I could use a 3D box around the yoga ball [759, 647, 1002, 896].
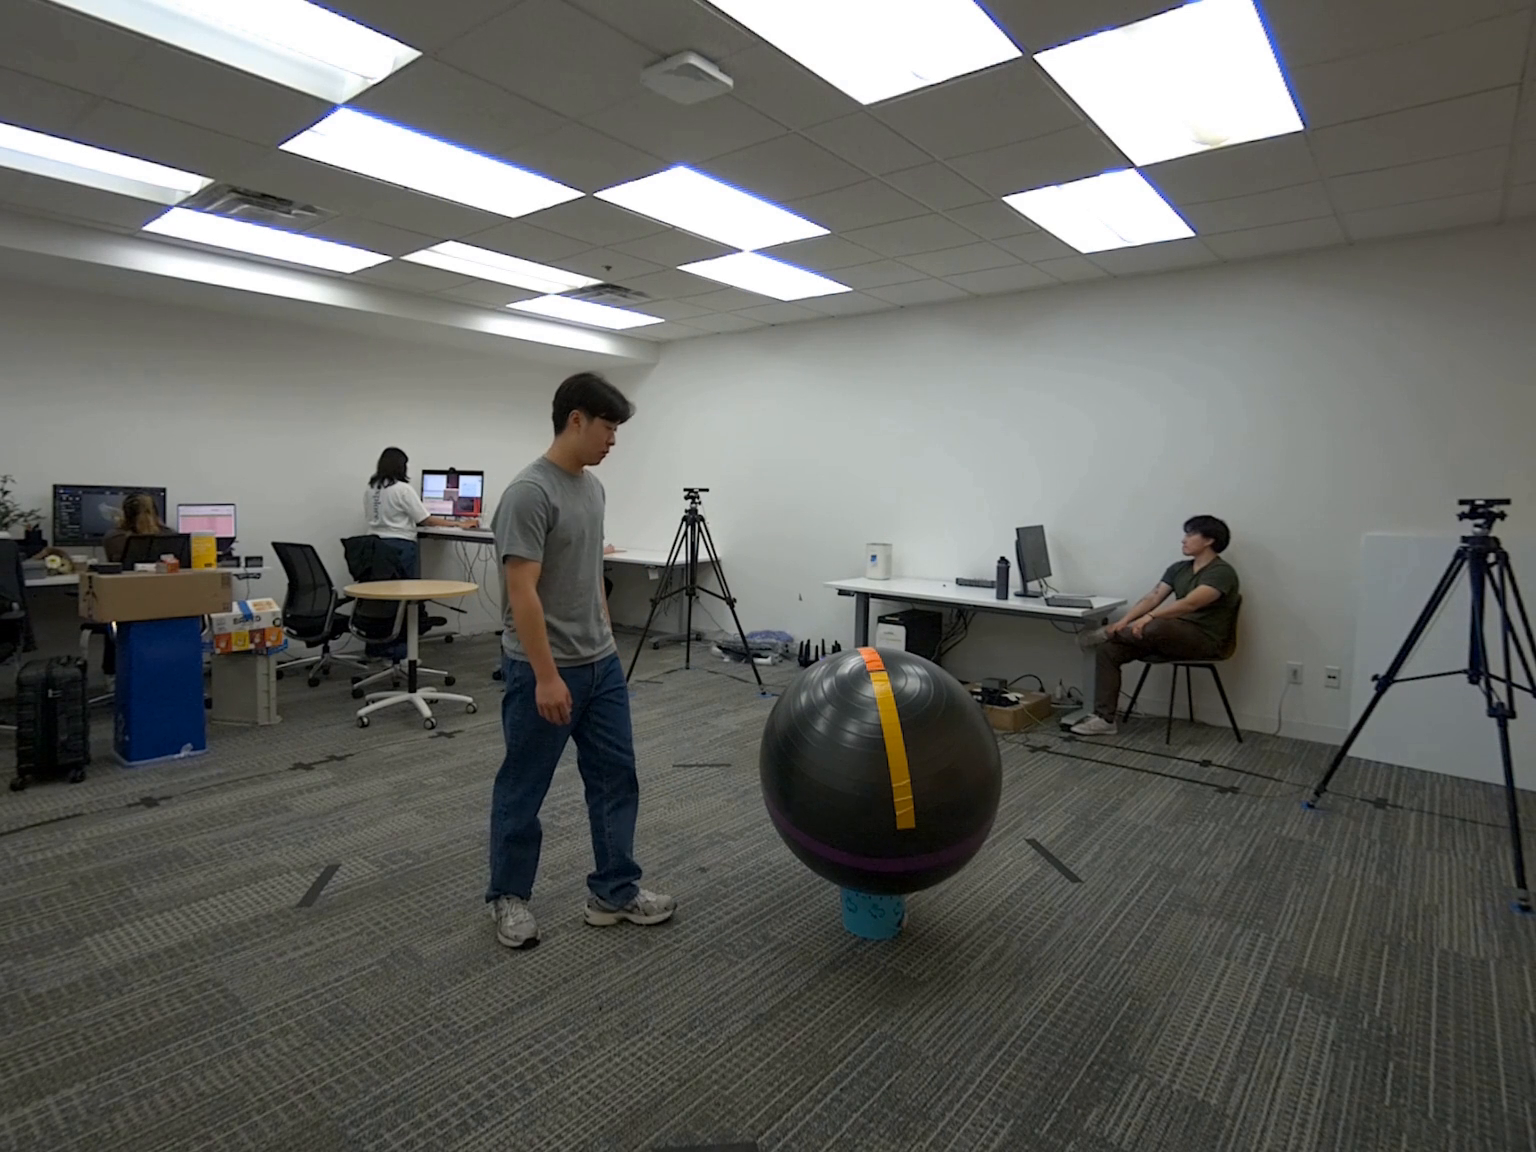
[{"bbox_3d":[0.348,0.610,2.710,0.757,0.756,0.761,1,4,-2],"label":"yoga ball"}]
